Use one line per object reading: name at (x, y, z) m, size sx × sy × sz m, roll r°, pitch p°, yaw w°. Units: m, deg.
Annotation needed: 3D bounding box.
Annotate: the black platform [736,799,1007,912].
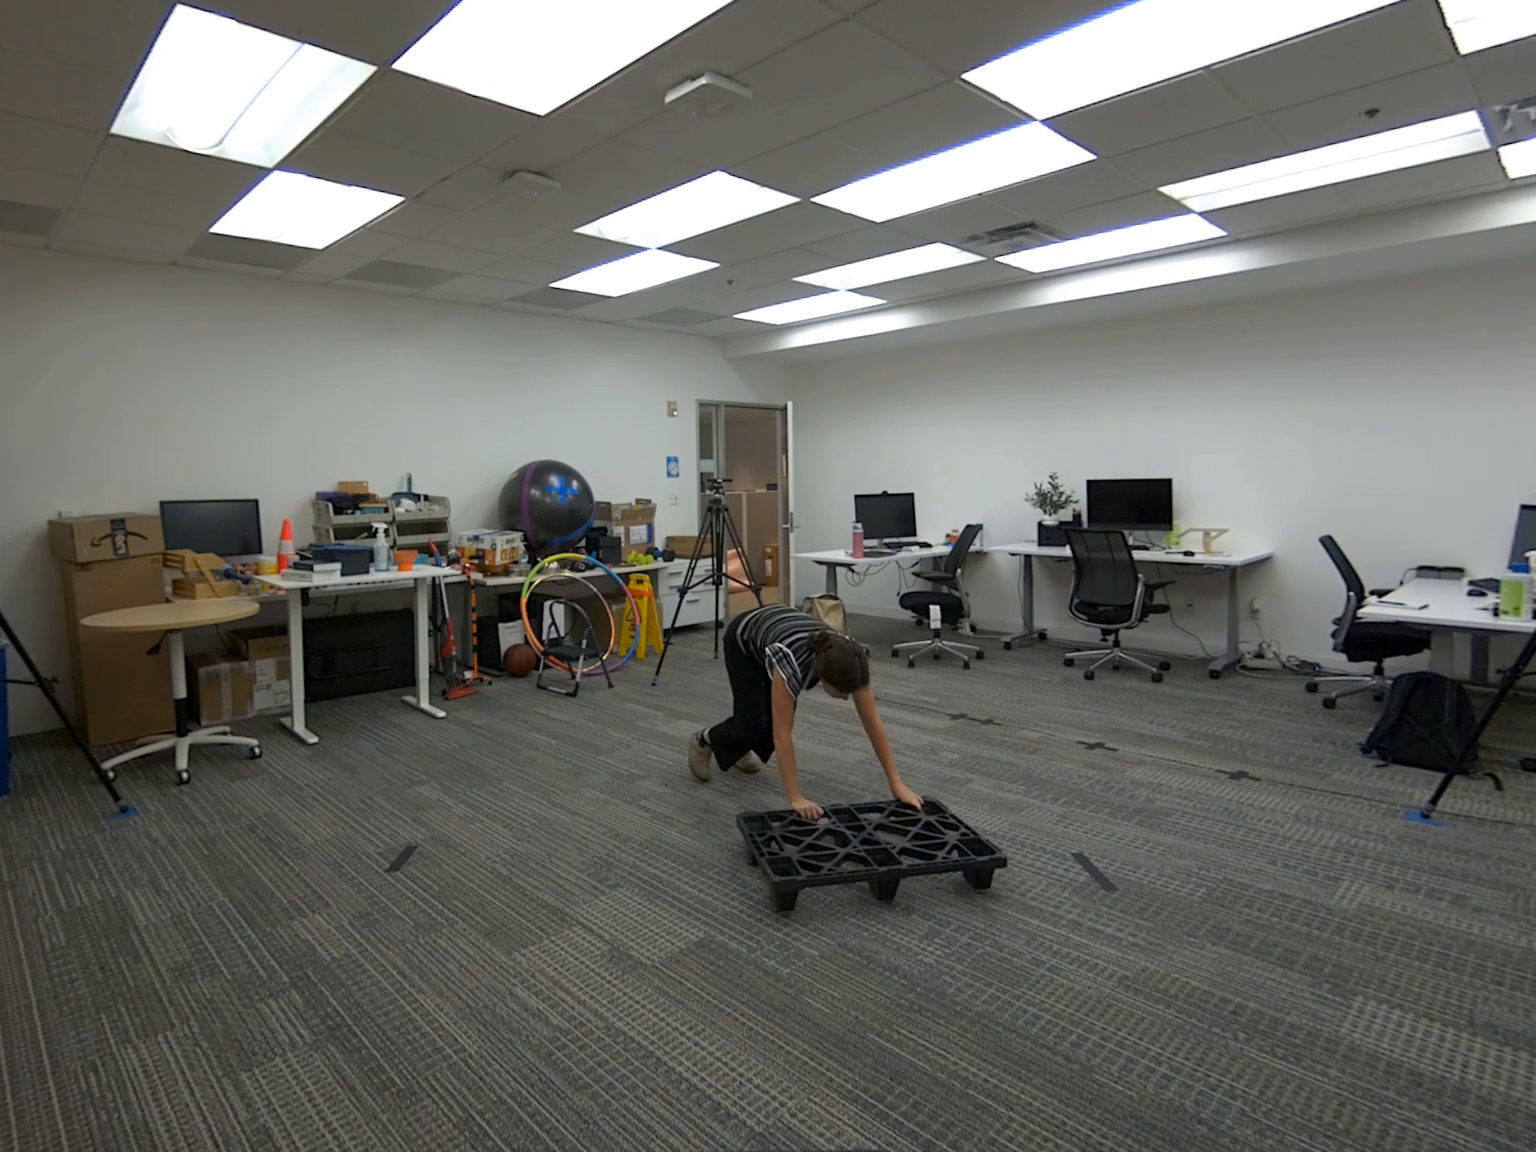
black platform at (0.337, 0.978, 3.023) m, size 0.797 × 0.143 × 0.614 m, roll -3°, pitch 6°, yaw -12°
